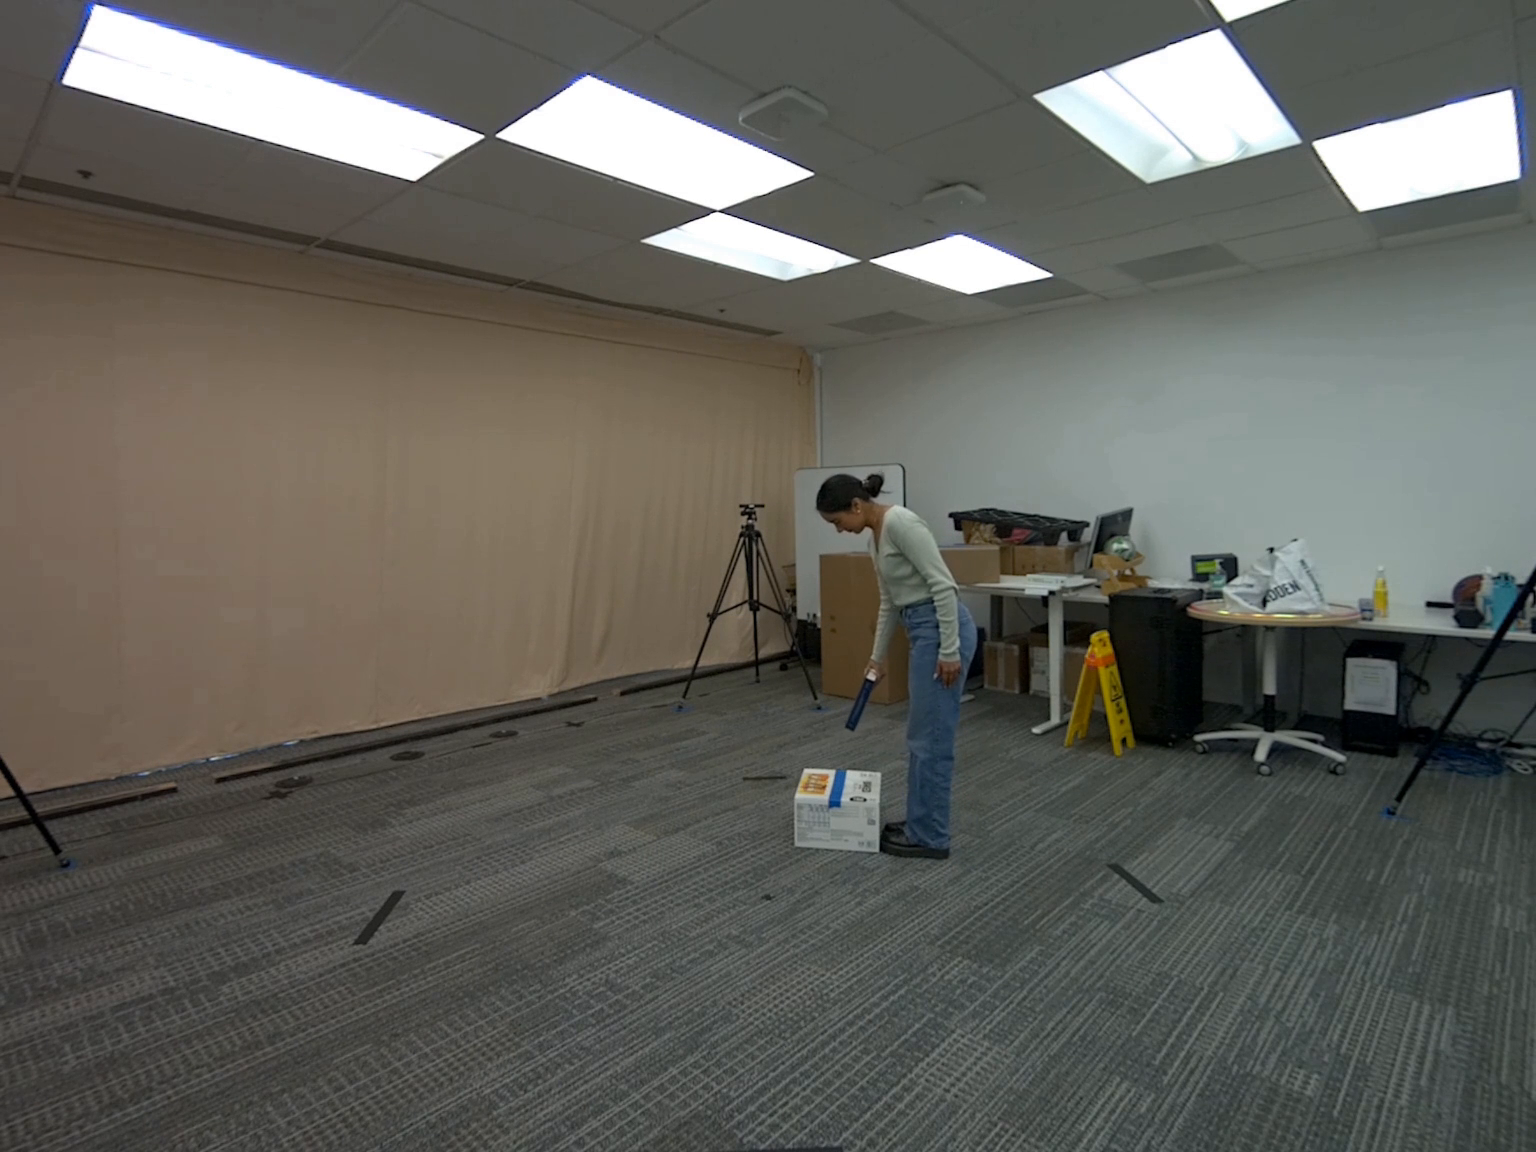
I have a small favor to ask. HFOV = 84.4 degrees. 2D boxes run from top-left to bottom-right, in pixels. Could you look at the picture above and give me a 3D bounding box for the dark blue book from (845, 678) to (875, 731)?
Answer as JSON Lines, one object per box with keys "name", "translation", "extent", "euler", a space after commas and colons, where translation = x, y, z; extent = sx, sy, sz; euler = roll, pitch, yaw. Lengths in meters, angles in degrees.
{"name": "dark blue book", "translation": [0.405, 0.521, 3.585], "extent": [0.046, 0.244, 0.162], "euler": [22, 14, 9]}
